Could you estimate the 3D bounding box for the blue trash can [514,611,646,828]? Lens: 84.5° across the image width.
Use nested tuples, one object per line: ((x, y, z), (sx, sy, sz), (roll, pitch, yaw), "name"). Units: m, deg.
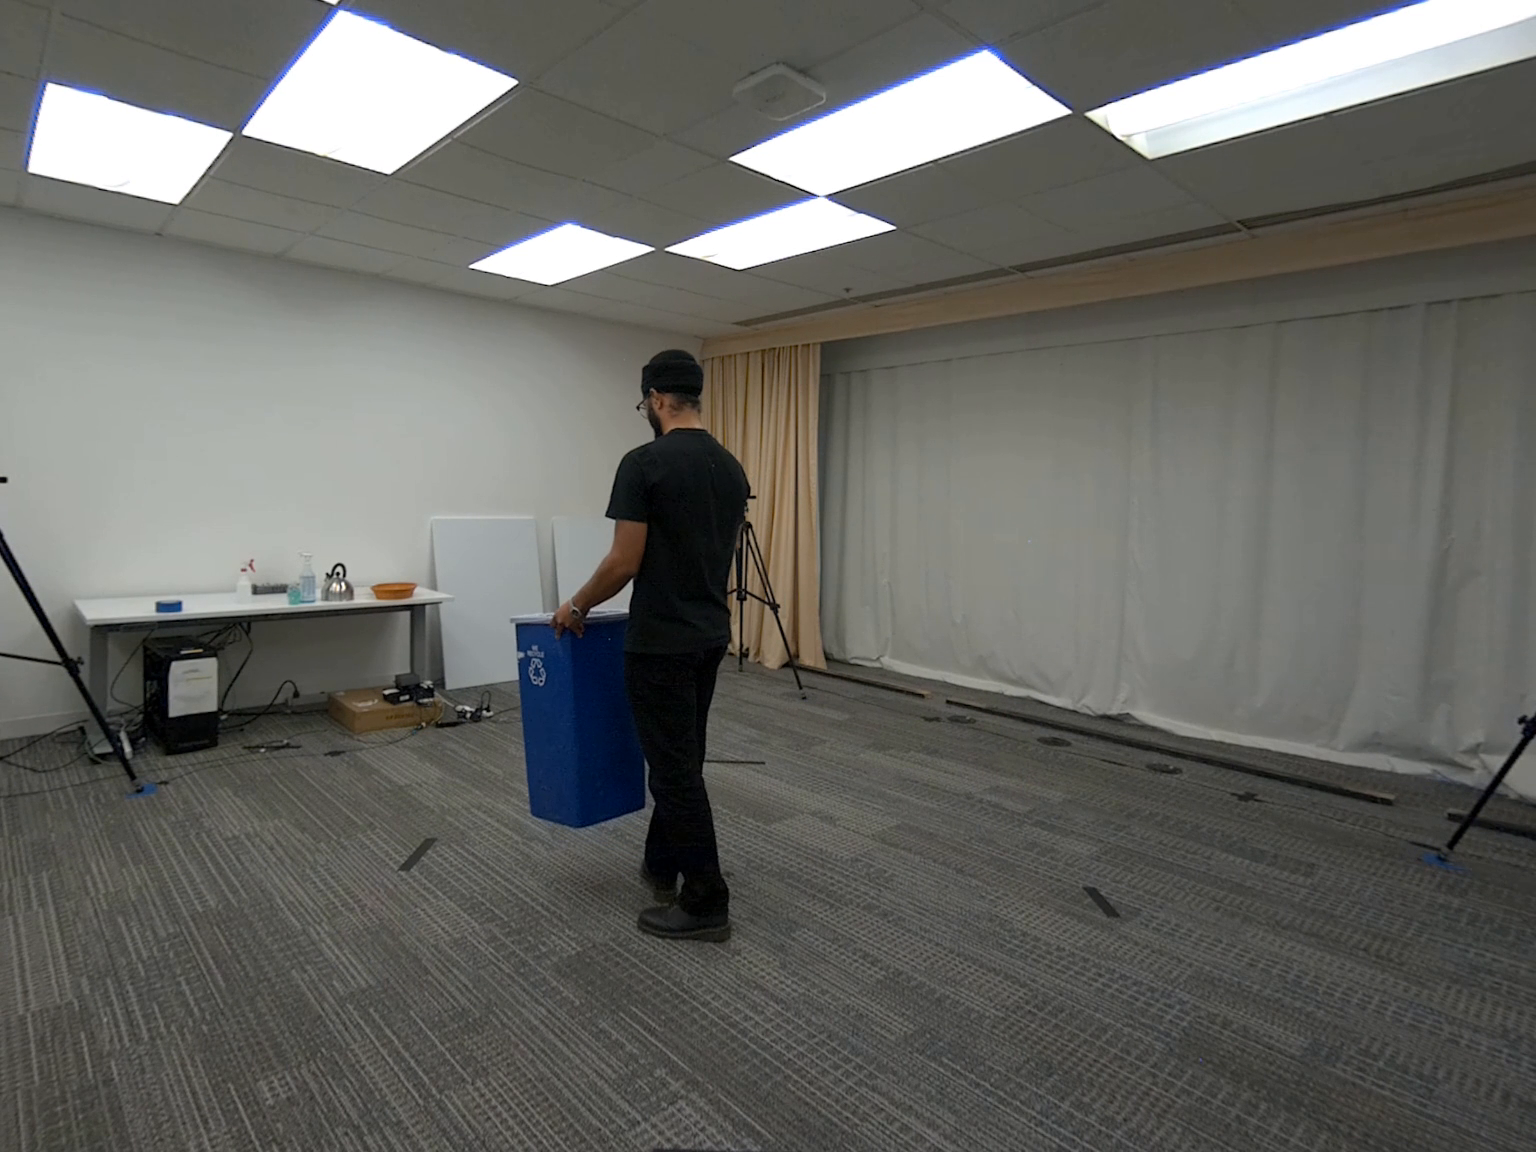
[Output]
((-0.667, 0.494, 3.030), (0.382, 0.715, 0.369), (-5, -2, 43), "blue trash can")
